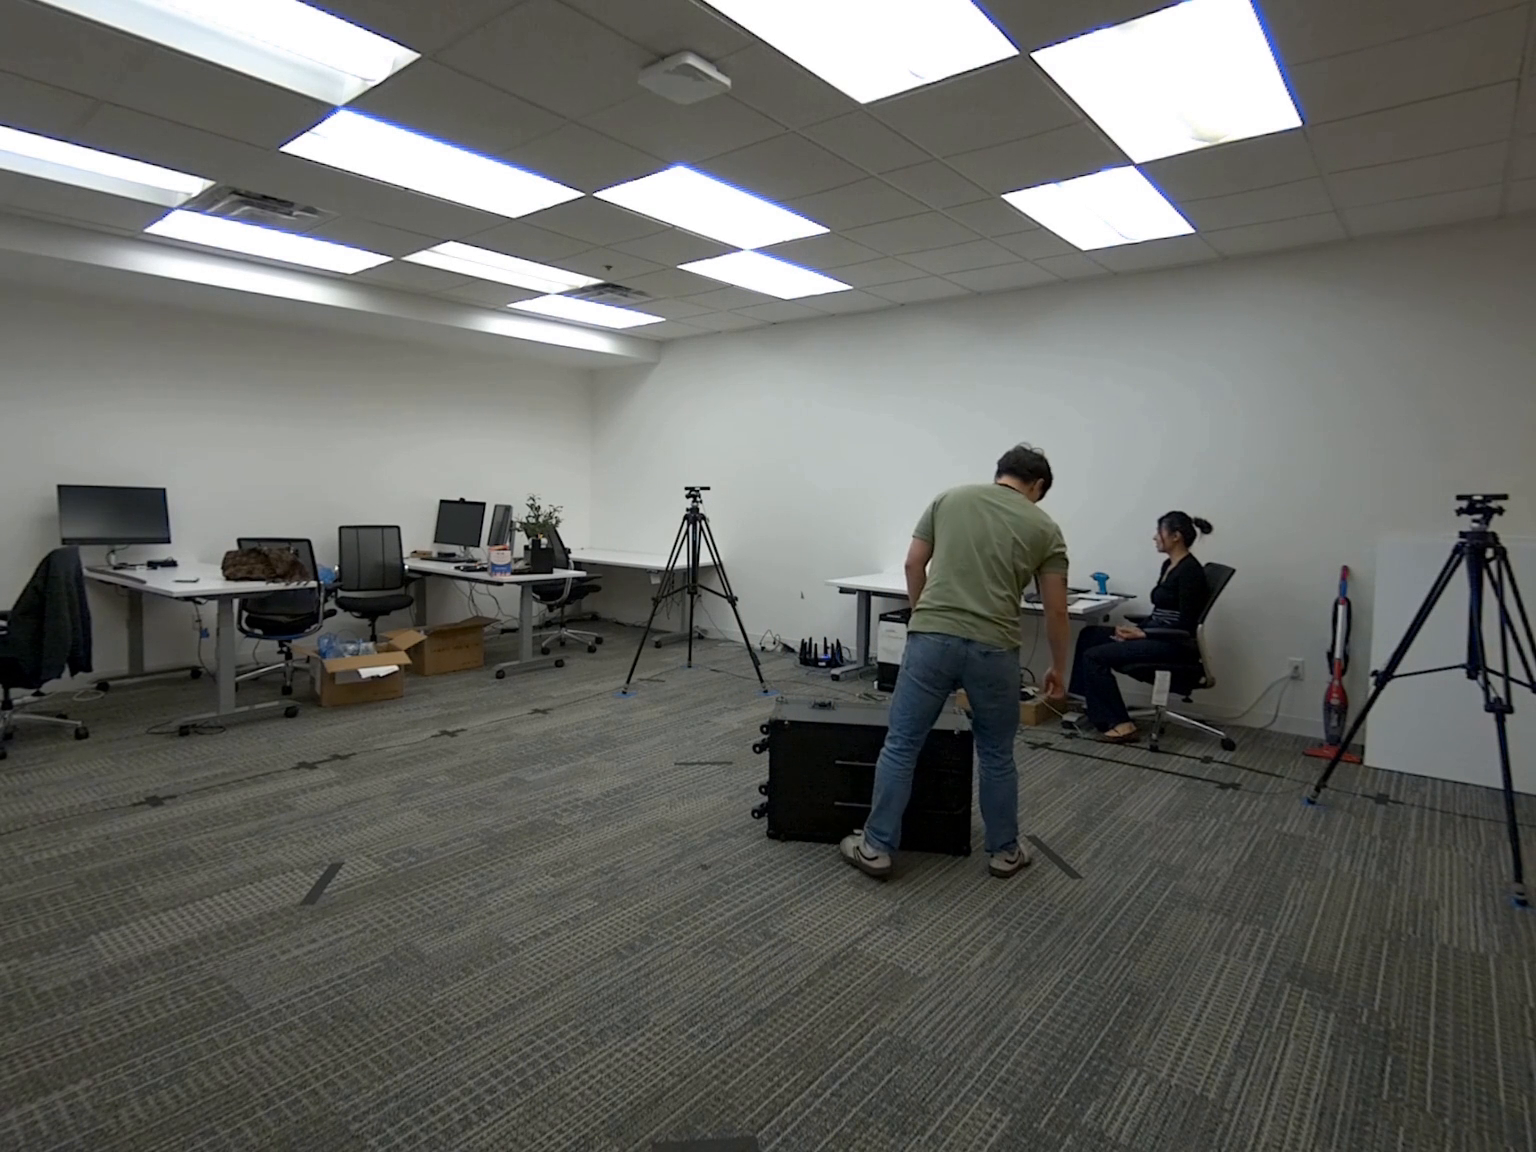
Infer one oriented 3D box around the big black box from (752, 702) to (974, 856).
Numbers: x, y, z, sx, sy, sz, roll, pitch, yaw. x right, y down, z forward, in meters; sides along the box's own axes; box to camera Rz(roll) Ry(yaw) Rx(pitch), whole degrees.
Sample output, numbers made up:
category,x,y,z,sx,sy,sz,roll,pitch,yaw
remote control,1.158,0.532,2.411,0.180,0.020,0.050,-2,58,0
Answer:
category,x,y,z,sx,sy,sz,roll,pitch,yaw
big black box,0.423,0.790,3.458,0.870,0.519,0.394,1,4,8
